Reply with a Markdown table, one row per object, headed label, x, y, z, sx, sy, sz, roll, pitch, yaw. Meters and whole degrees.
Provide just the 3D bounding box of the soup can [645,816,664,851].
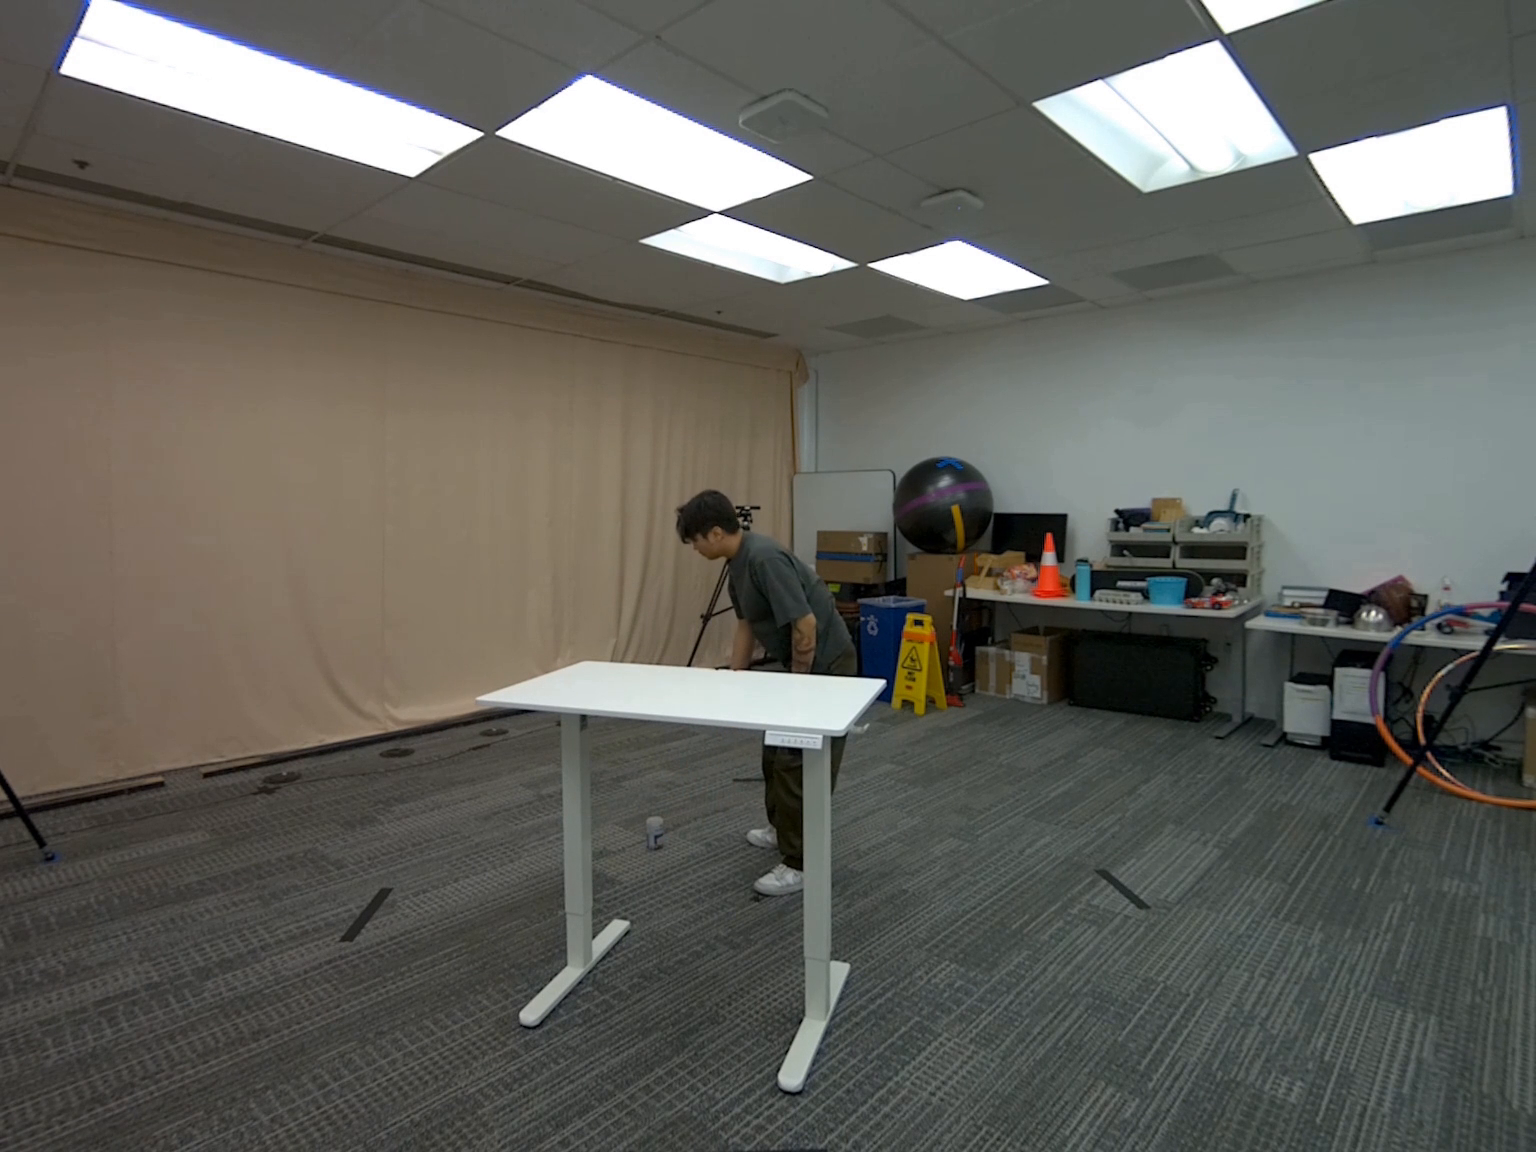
| label | x | y | z | sx | sy | sz | roll | pitch | yaw |
| --- | --- | --- | --- | --- | --- | --- | --- | --- | --- |
| soup can | -0.459 | 1.059 | 3.442 | 0.067 | 0.121 | 0.067 | -5 | 0 | -2 |
